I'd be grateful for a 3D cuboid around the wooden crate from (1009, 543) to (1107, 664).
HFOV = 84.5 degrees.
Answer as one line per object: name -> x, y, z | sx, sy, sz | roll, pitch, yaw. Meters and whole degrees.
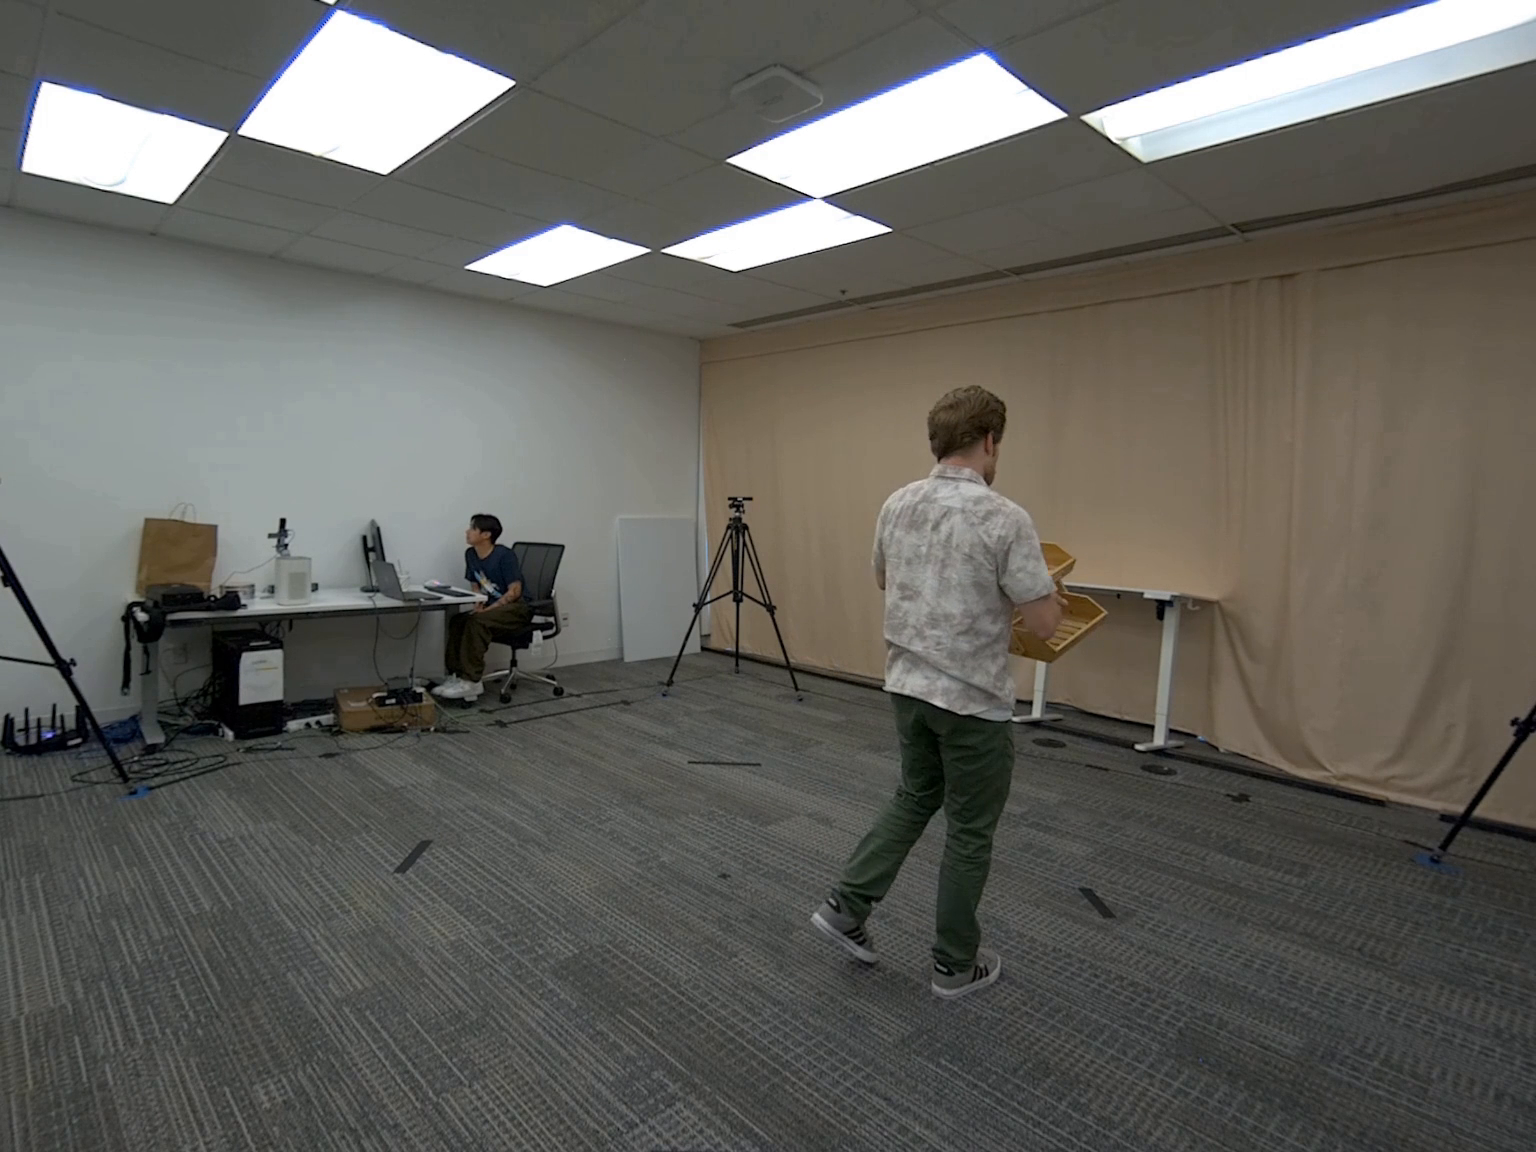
wooden crate -> 0.848, 0.071, 2.647 | 0.321, 0.269, 0.310 | -25, 23, -34
